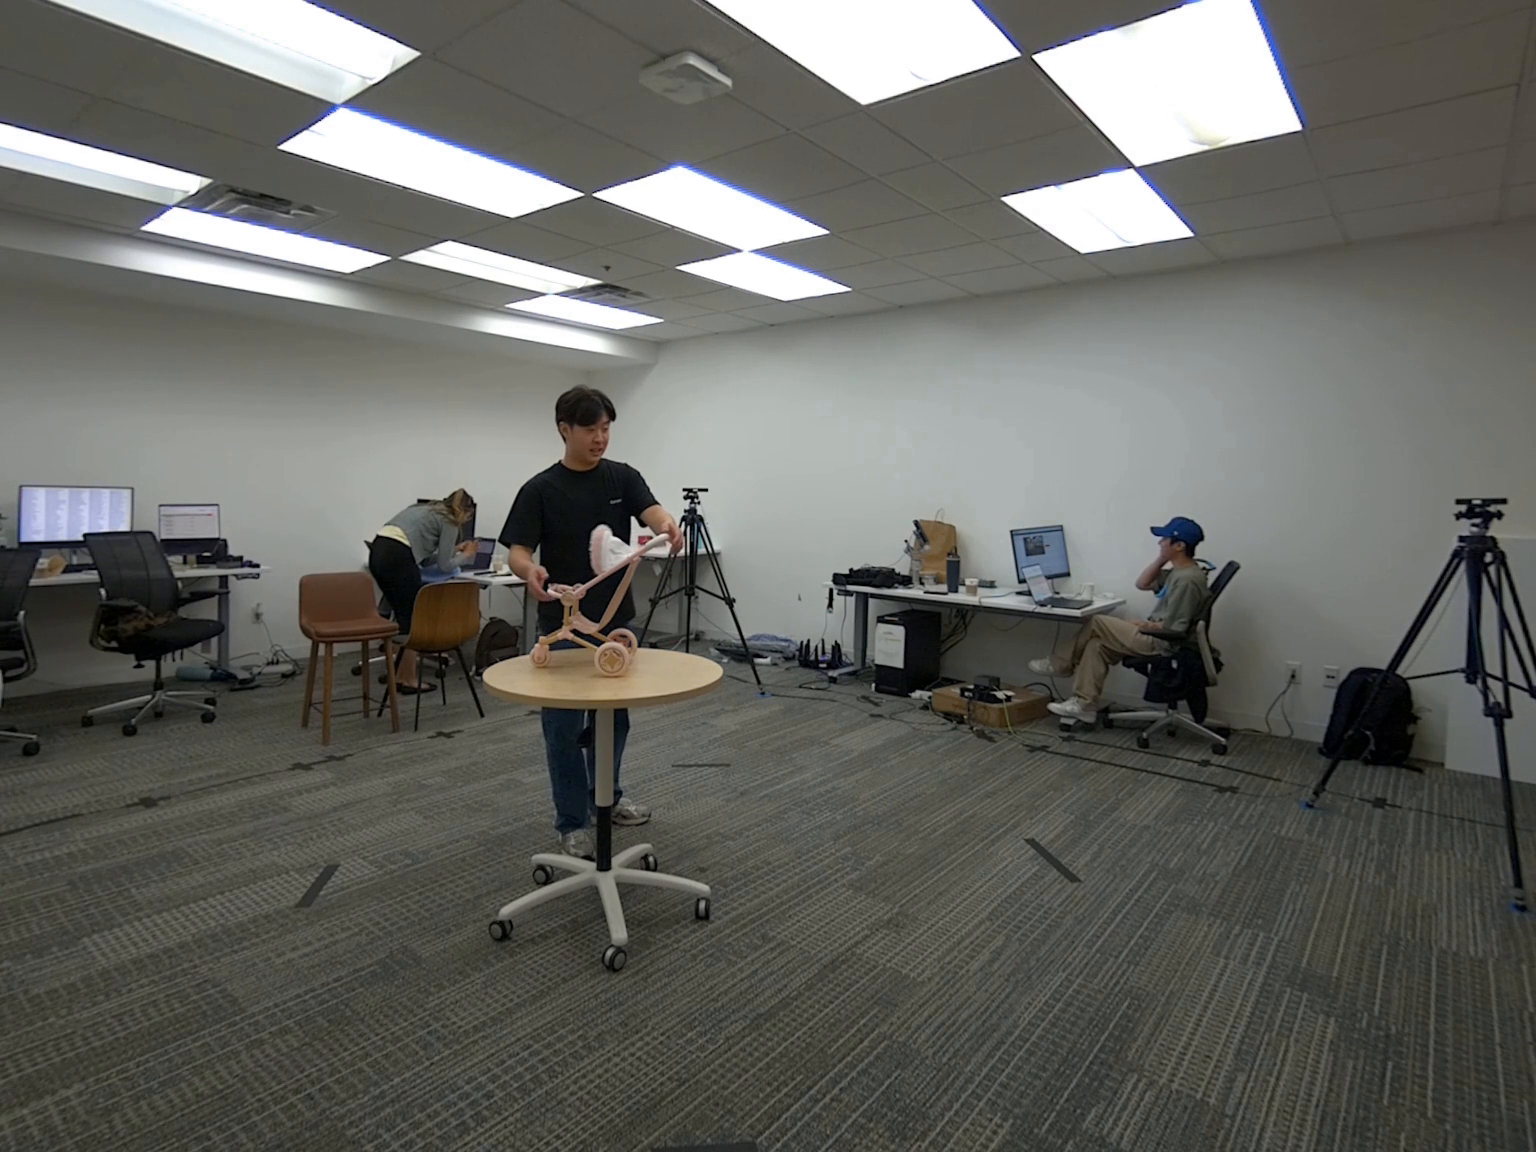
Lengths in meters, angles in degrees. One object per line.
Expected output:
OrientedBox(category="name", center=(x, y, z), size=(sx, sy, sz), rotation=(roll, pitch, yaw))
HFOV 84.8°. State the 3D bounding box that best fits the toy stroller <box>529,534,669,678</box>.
OrientedBox(category="toy stroller", center=(-0.570, 0.076, 2.768), size=(0.343, 0.533, 0.281), rotation=(14, 4, 2))
